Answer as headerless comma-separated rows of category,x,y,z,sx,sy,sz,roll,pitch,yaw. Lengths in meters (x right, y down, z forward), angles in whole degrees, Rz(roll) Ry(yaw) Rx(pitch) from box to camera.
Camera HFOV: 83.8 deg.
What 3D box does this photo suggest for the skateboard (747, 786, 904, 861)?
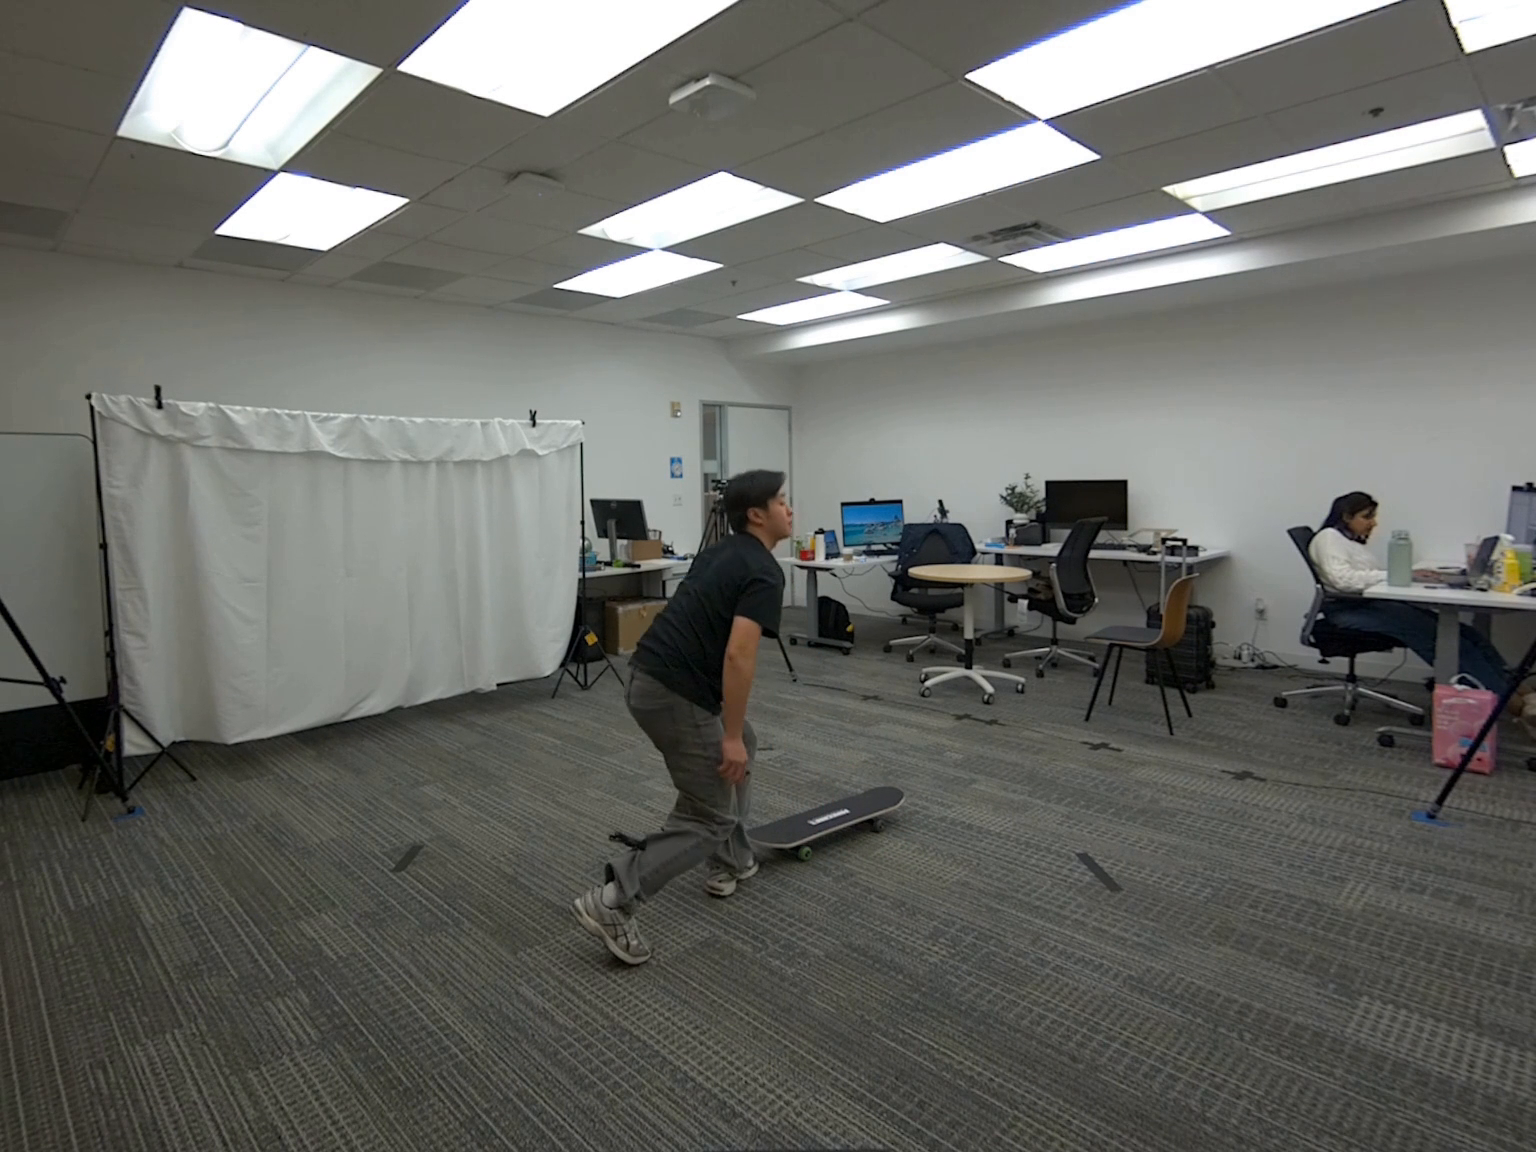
skateboard,0.238,0.963,3.312,0.765,0.110,0.199,-6,7,-38
